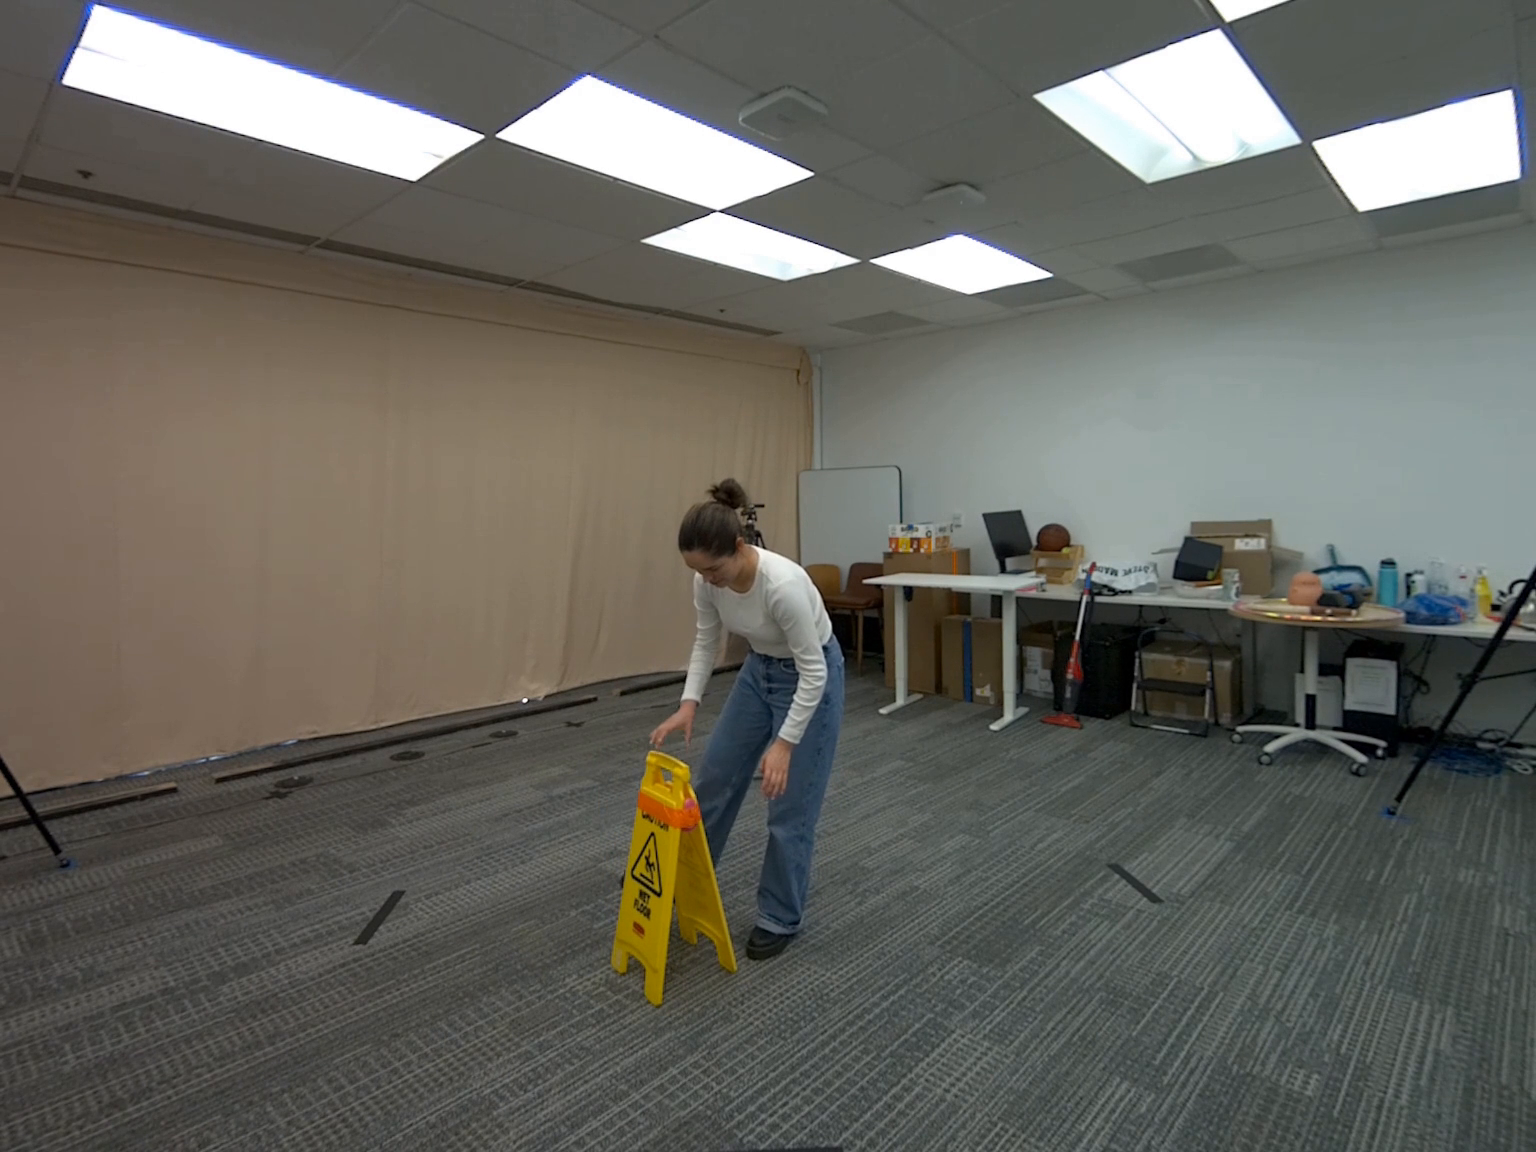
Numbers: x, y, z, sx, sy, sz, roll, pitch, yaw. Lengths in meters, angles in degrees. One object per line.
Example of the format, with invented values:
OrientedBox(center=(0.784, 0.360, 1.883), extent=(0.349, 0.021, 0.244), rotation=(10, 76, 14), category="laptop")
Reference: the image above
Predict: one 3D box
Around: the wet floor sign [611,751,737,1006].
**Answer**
OrientedBox(center=(-0.287, 0.862, 2.519), extent=(0.281, 0.644, 0.291), rotation=(-4, 5, -38), category="wet floor sign")
